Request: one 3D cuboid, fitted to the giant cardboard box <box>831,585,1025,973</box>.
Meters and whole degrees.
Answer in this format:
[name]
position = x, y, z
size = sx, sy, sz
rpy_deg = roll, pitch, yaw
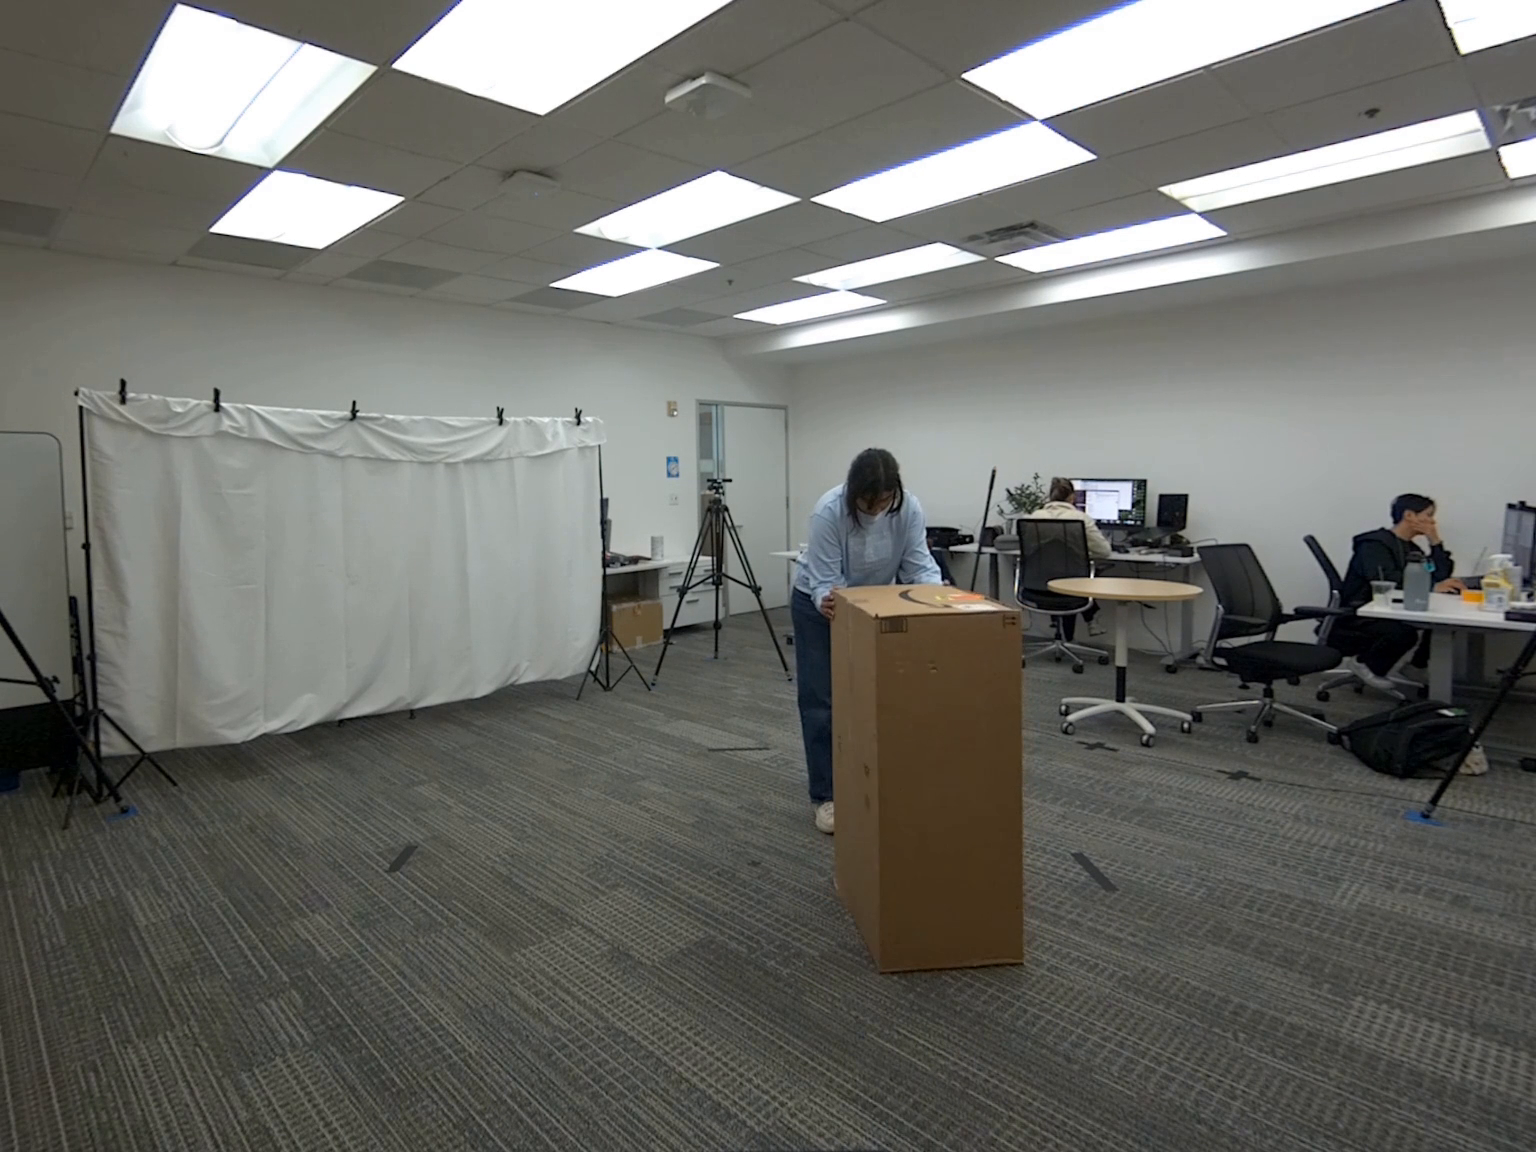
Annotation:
[giant cardboard box]
position = 0.475, 0.580, 2.670
size = 0.423, 1.022, 0.584
rpy_deg = -2, 4, -8
